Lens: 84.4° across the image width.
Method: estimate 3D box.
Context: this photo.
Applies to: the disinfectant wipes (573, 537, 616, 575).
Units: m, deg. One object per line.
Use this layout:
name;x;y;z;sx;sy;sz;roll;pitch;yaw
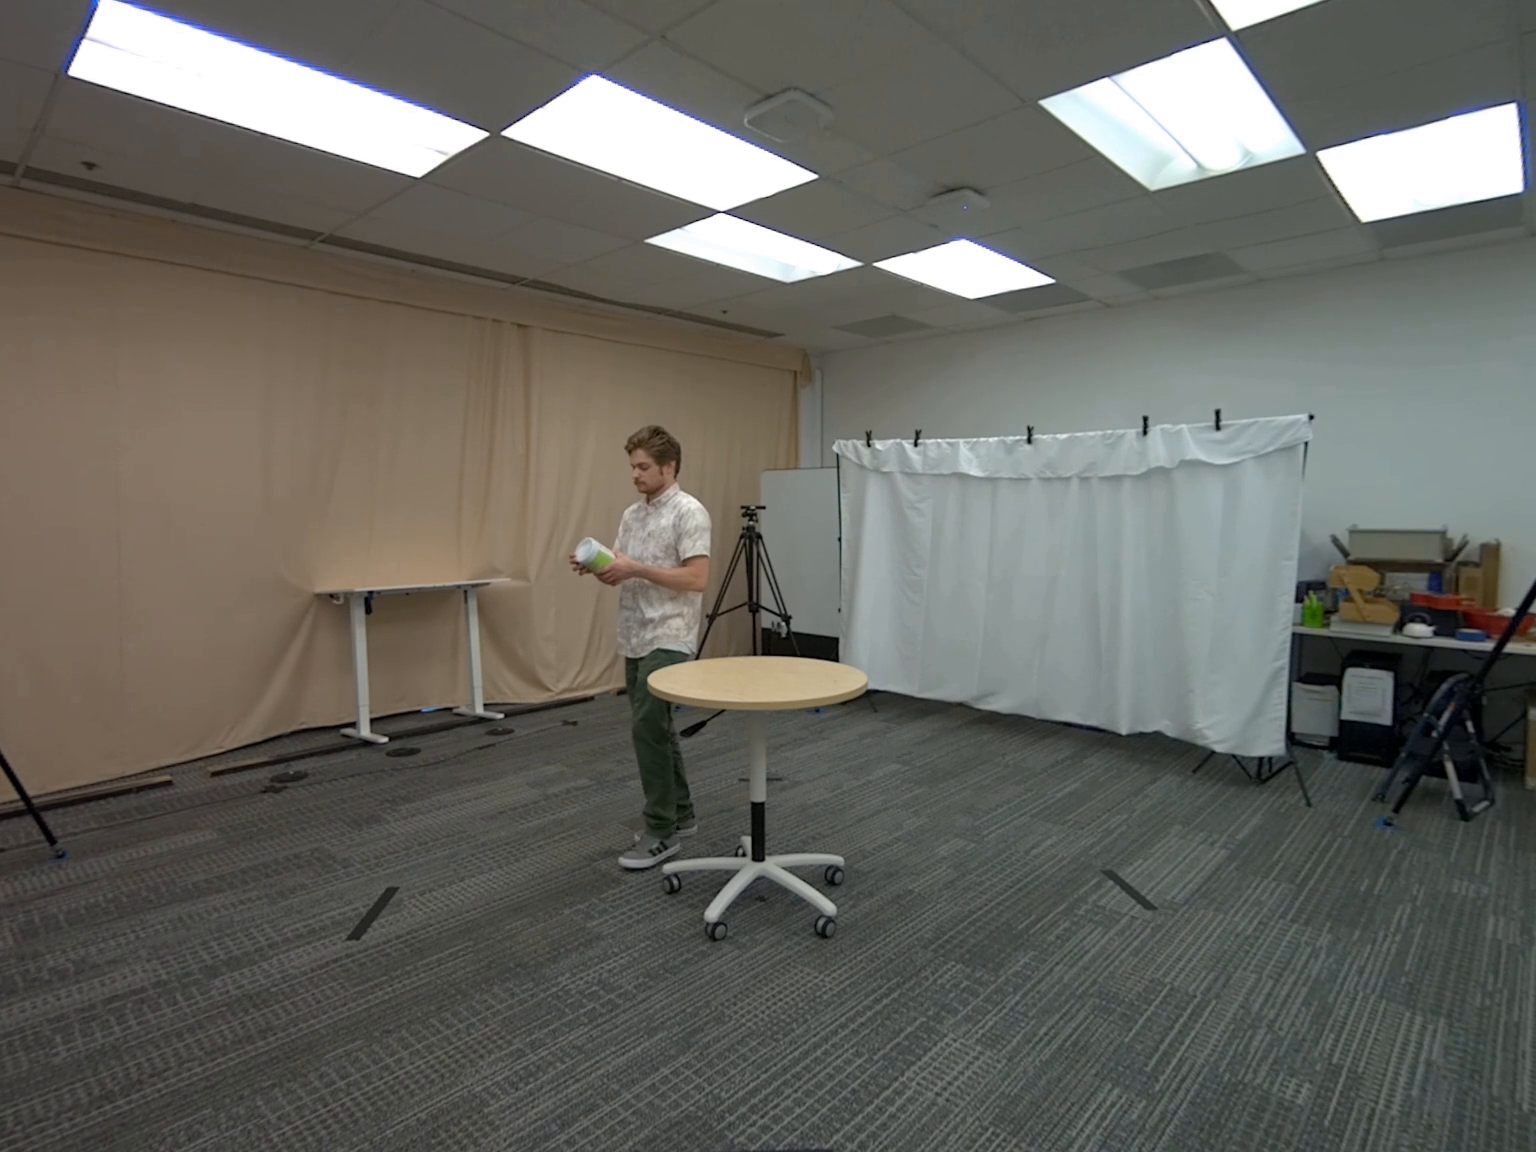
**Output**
disinfectant wipes;-0.657;-0.059;3.323;0.121;0.118;0.209;3;-25;36
